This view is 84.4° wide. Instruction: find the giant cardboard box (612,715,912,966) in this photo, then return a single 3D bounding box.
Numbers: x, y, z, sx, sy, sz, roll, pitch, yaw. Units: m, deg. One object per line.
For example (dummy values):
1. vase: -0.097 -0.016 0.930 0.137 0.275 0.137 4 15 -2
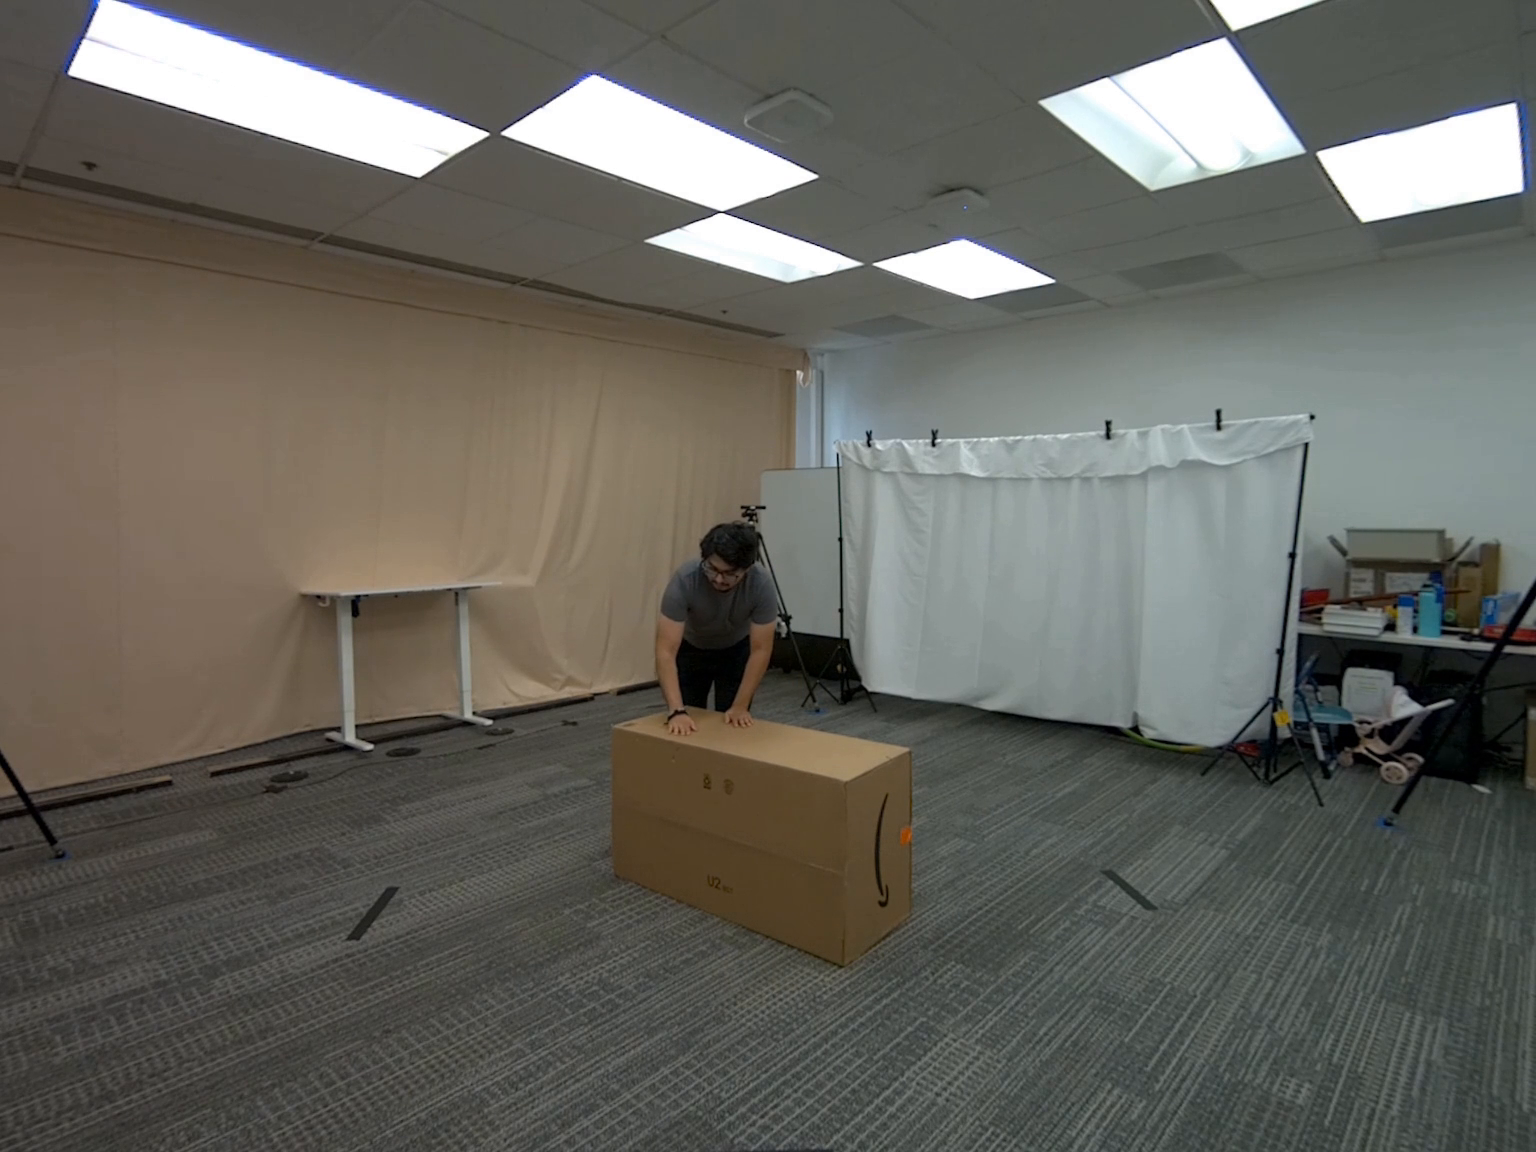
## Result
1. giant cardboard box: -0.043 0.854 3.002 1.059 0.576 0.413 3 4 38
